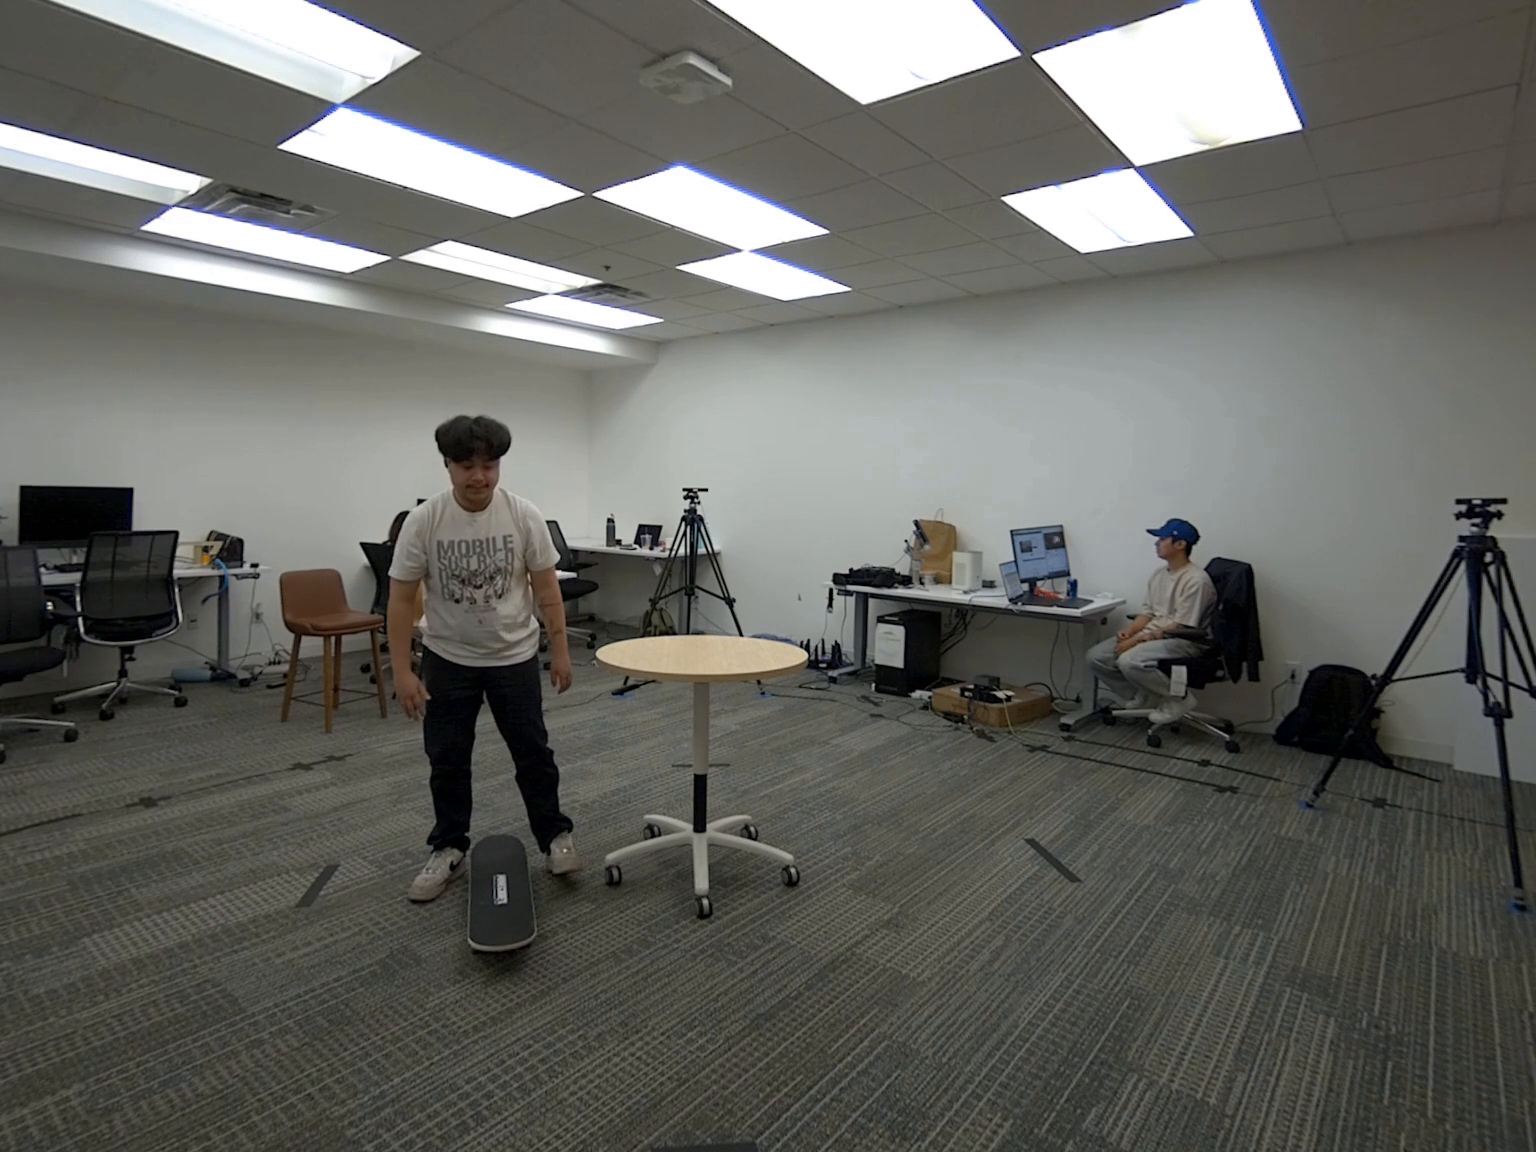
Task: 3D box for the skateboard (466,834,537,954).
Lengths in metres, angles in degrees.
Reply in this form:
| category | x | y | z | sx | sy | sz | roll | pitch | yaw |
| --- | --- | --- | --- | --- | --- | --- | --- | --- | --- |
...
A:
| category | x | y | z | sx | sy | sz | roll | pitch | yaw |
| --- | --- | --- | --- | --- | --- | --- | --- | --- | --- |
| skateboard | -0.868 | 1.036 | 2.739 | 0.190 | 0.110 | 0.802 | 0 | 6 | -17 |
